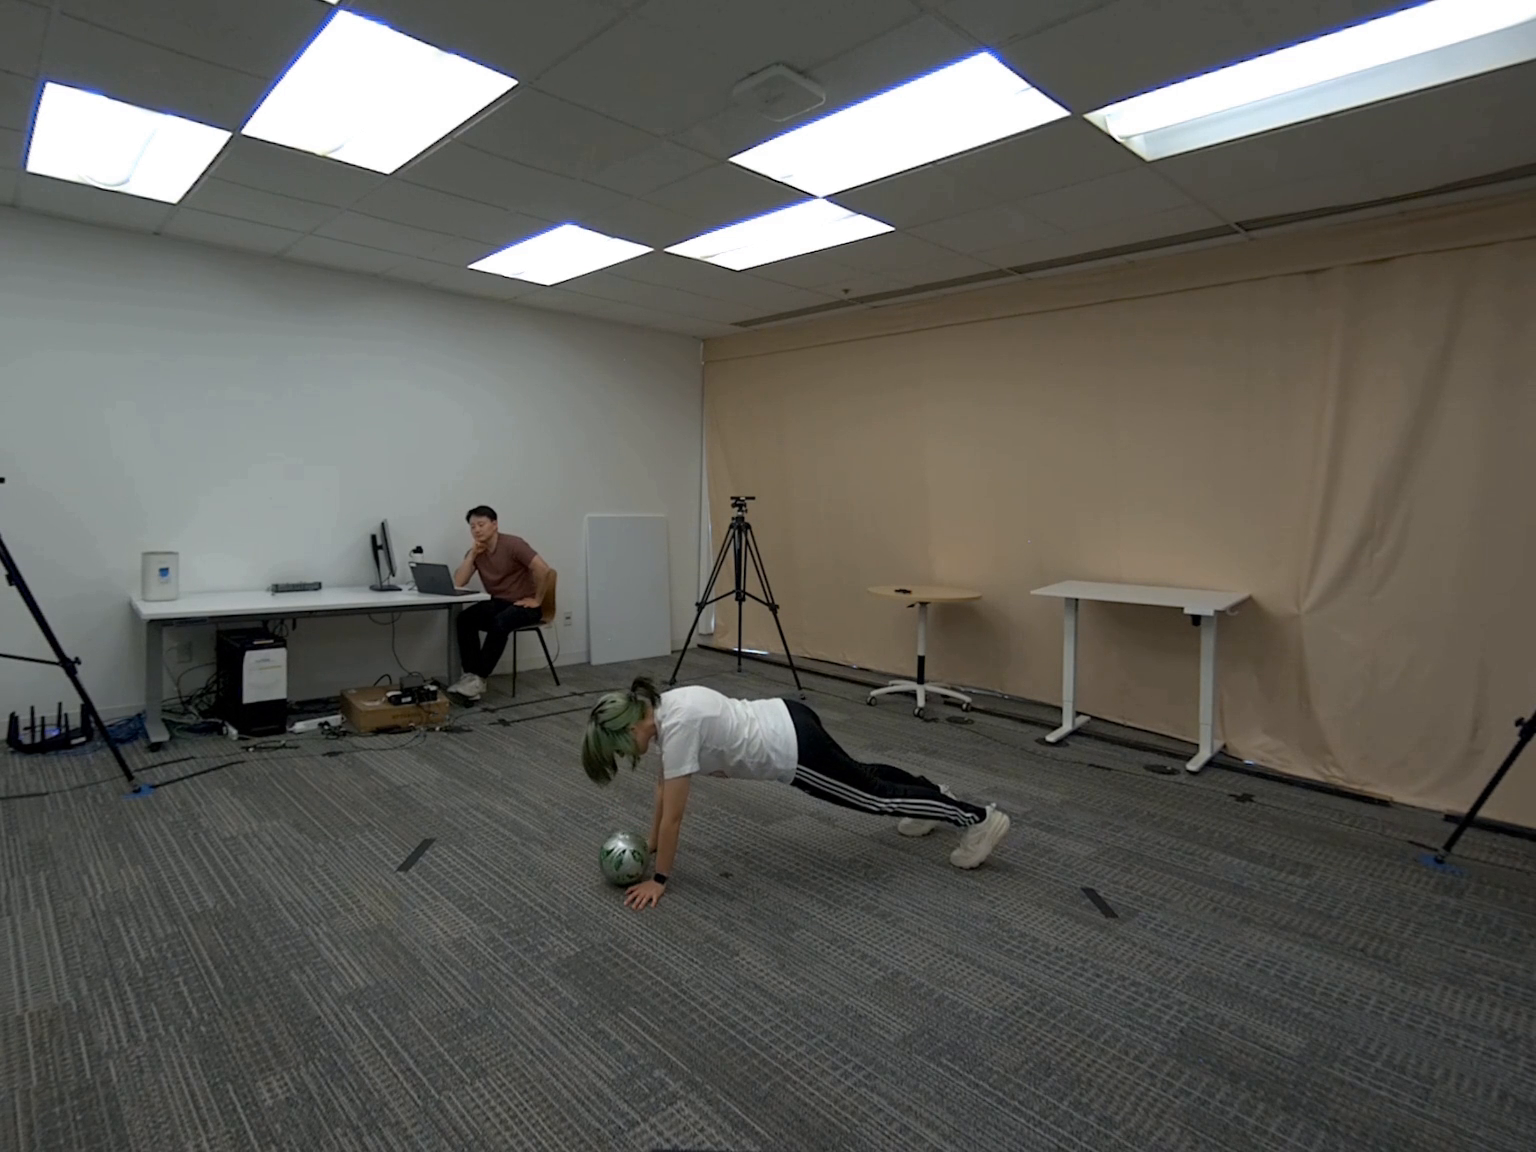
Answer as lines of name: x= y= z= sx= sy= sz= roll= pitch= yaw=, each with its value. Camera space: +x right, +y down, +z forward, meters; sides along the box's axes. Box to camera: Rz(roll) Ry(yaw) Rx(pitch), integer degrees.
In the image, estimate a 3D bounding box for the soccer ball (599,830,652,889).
soccer ball: x=-0.523 y=1.015 z=3.019 sx=0.187 sy=0.187 sz=0.188 roll=1 pitch=4 yaw=-1
